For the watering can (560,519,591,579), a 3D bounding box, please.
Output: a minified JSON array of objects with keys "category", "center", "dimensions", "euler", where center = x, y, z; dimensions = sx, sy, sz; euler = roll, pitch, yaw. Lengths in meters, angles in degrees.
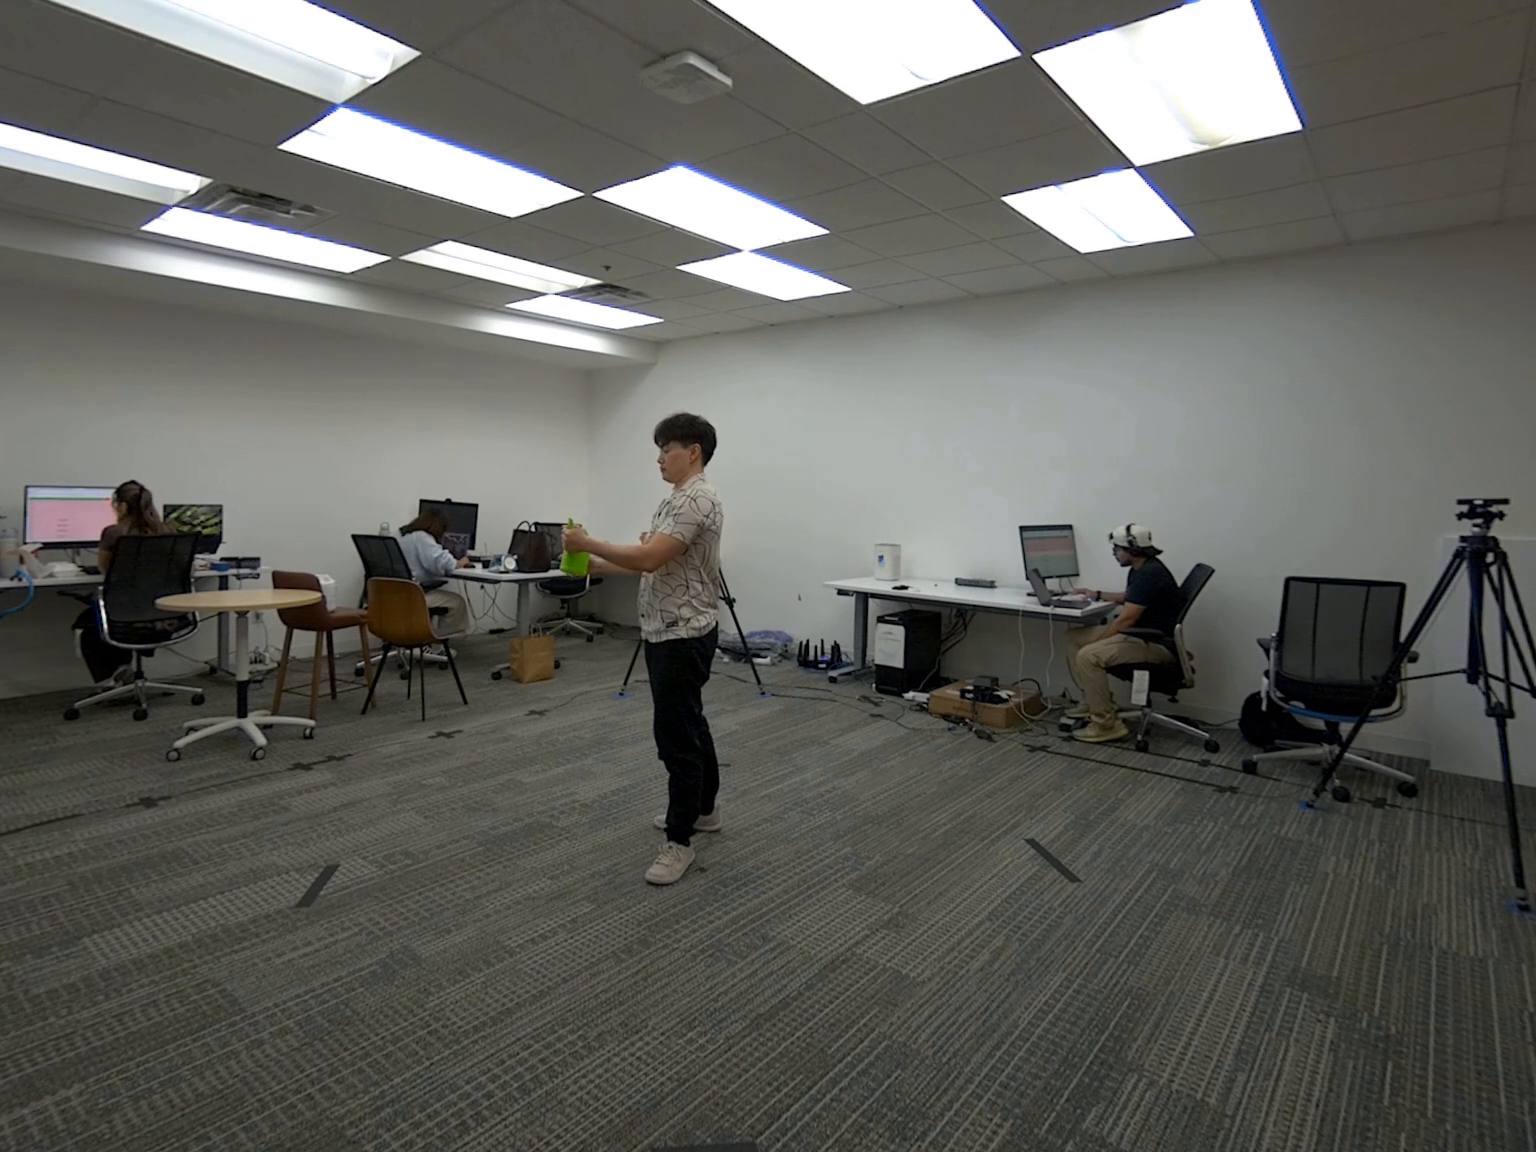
[{"category":"watering can","center":[-0.719,-0.104,3.101],"dimensions":[0.099,0.178,0.272],"euler":[6,-9,12]}]
